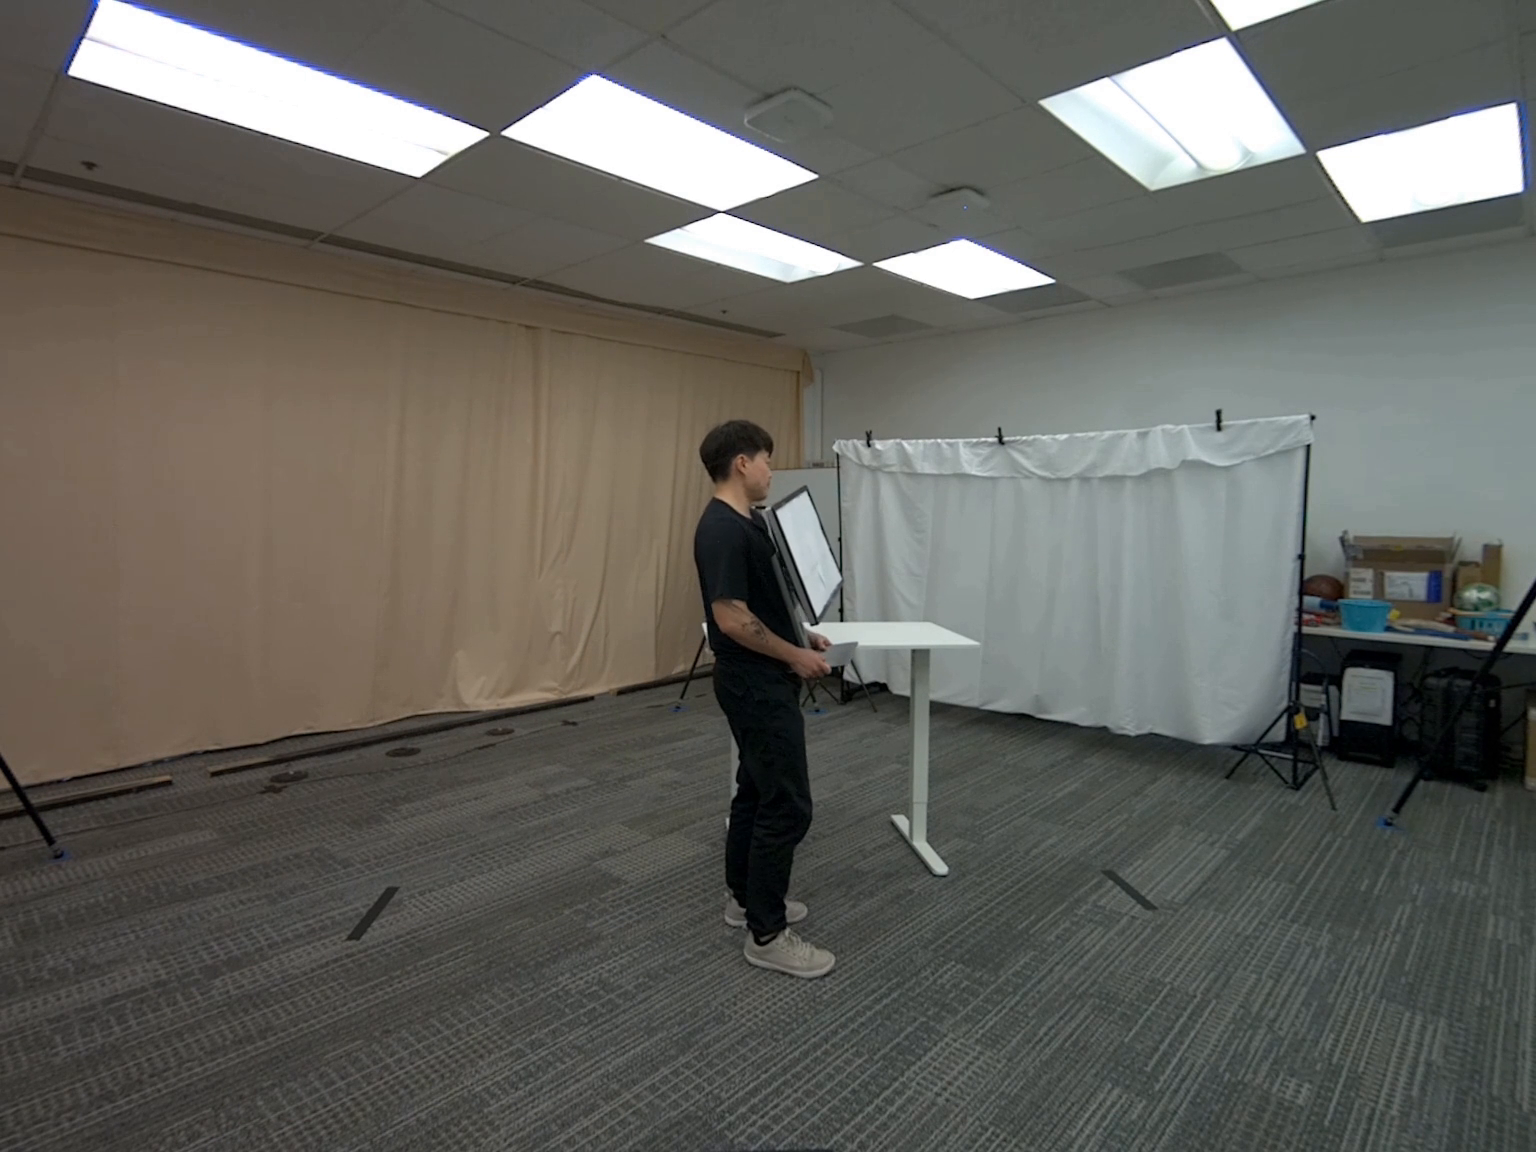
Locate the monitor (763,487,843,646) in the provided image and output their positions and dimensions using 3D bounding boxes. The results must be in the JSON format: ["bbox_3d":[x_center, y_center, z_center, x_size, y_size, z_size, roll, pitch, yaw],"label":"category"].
[{"bbox_3d":[0.126,0.008,2.655,0.190,0.519,0.535,-9,9,14],"label":"monitor"}]
